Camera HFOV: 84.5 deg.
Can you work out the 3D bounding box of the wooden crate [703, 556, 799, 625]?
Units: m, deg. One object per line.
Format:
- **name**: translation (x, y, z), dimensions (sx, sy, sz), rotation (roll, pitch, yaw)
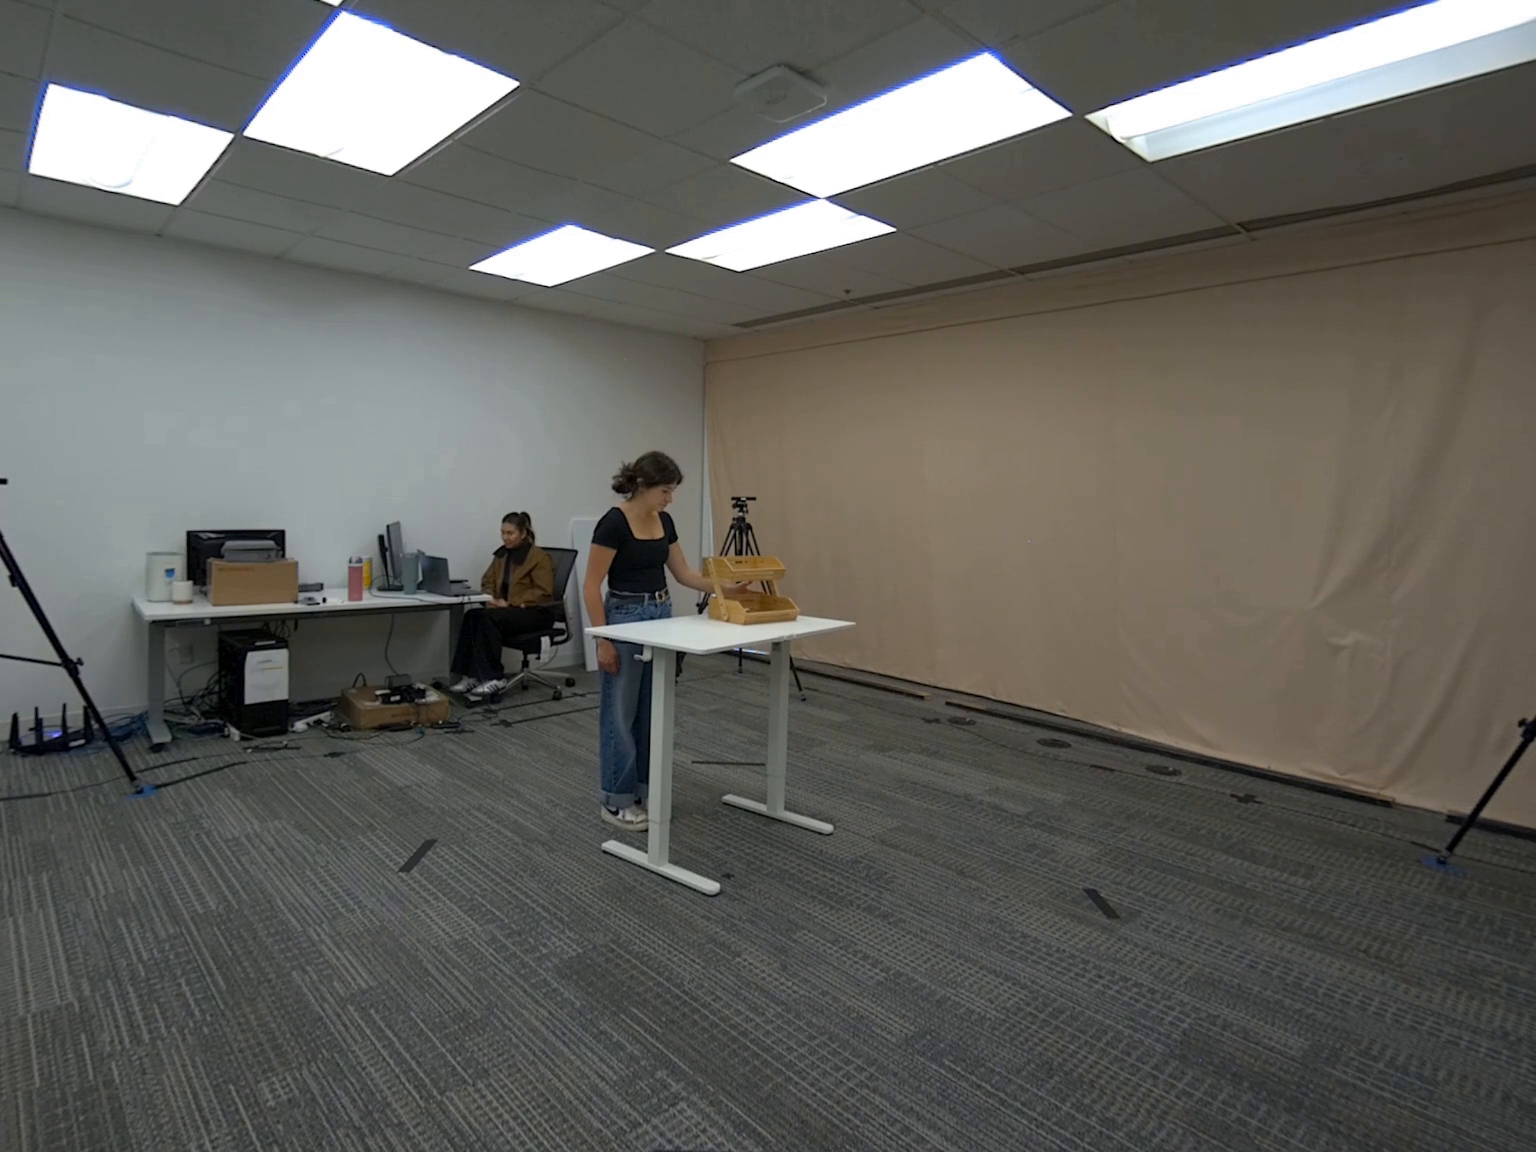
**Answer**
- **wooden crate**: translation (-0.084, 0.049, 3.605), dimensions (0.317, 0.273, 0.309), rotation (-1, 4, -42)
